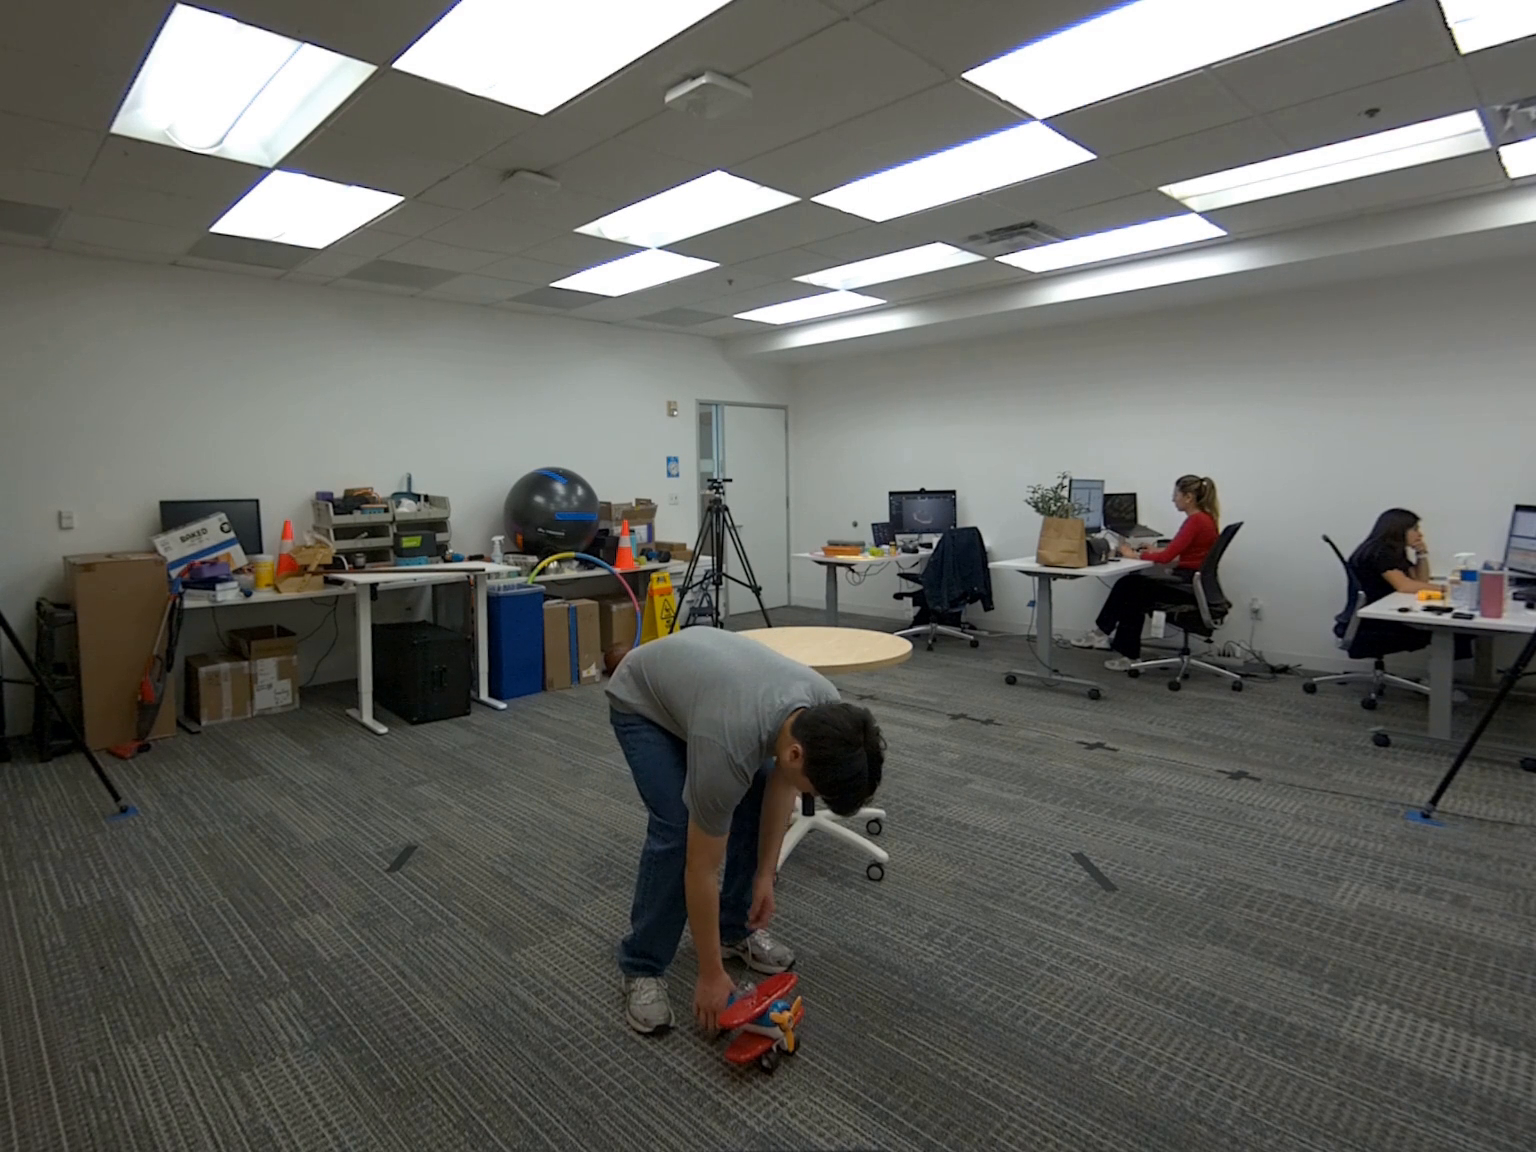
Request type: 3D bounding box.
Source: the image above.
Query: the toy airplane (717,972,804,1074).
[{"bbox_3d":[-0.049,1.096,2.085,0.262,0.156,0.249,0,6,12],"label":"toy airplane"}]
